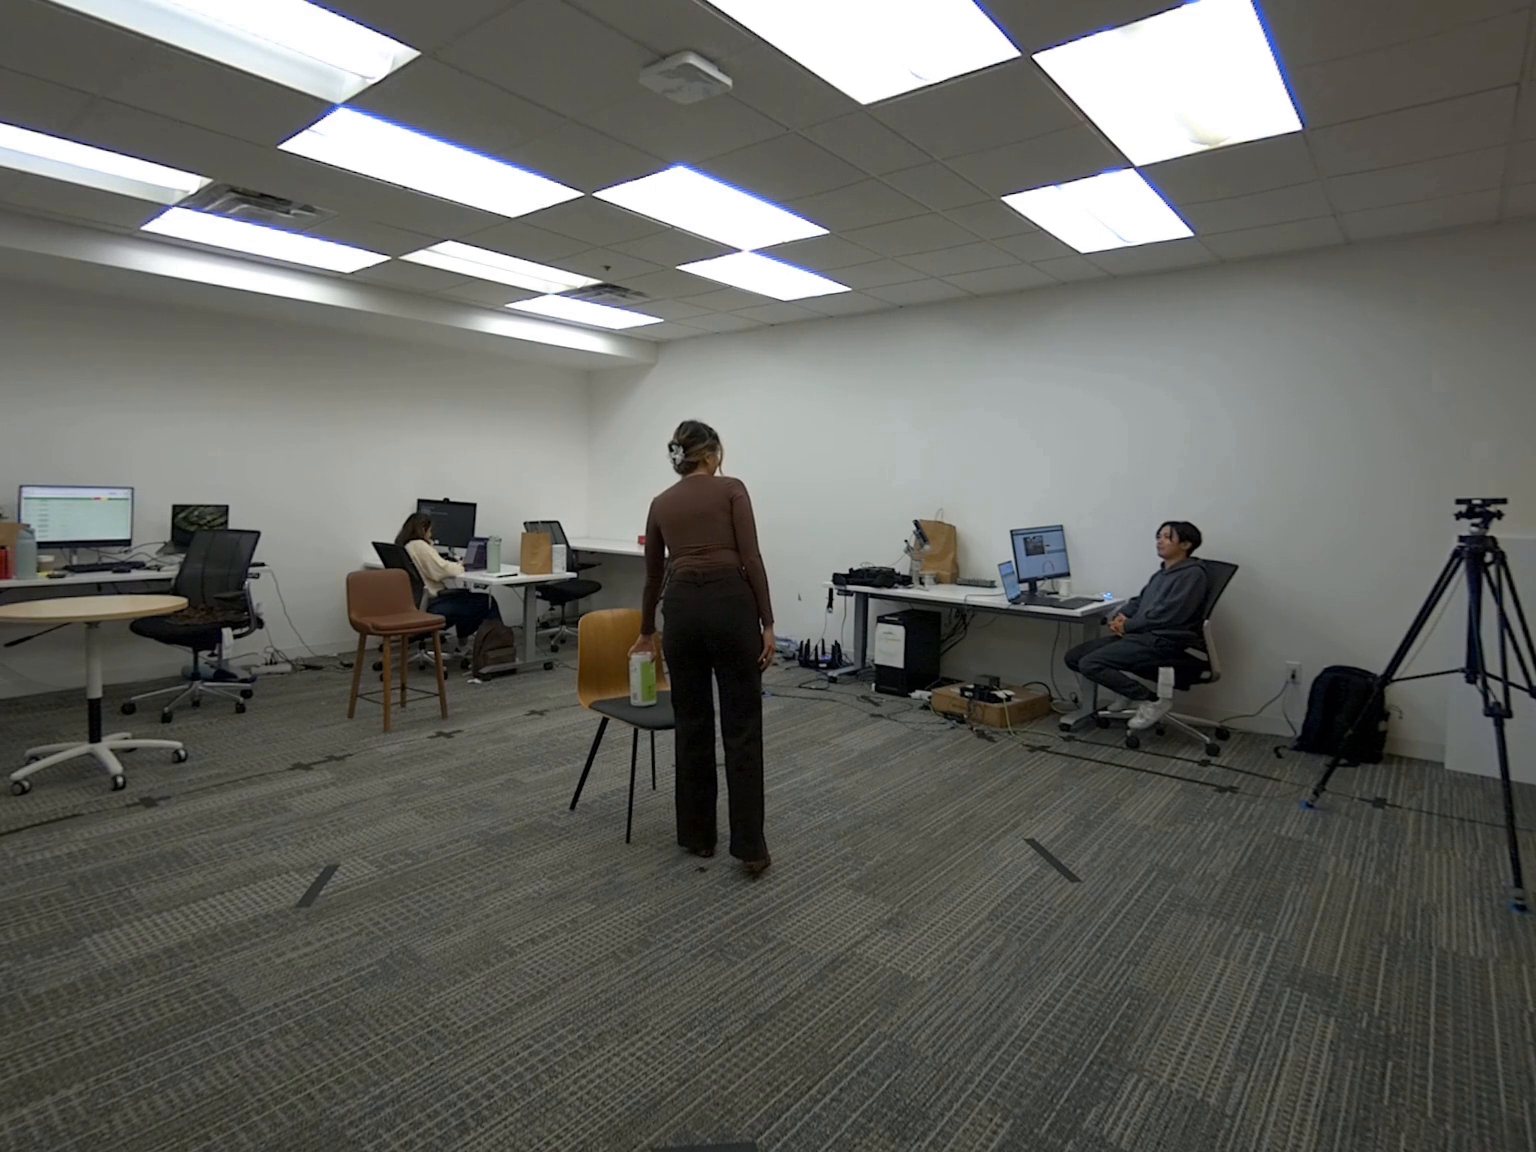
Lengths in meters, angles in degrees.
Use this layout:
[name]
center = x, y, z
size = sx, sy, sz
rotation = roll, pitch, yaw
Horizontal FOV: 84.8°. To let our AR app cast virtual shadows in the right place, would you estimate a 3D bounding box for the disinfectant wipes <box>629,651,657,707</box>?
[disinfectant wipes]
center = -0.549, 0.435, 3.611
size = 0.118, 0.218, 0.118
rotation = -1, -1, -2
